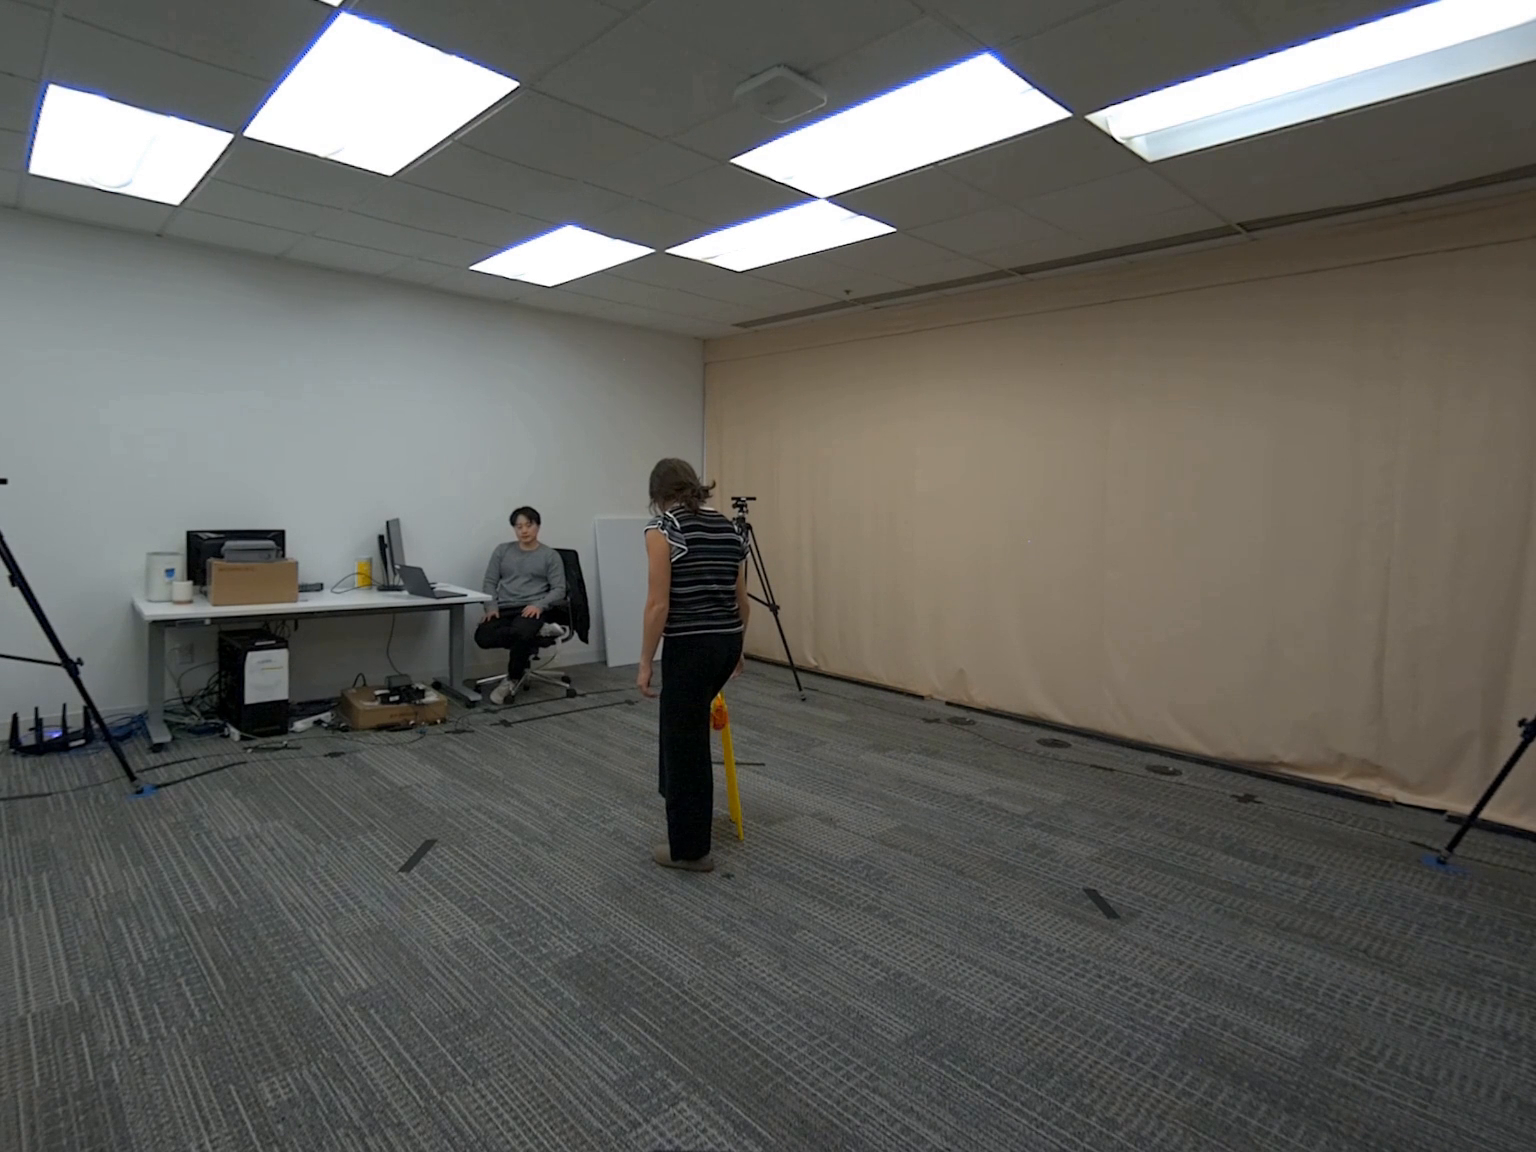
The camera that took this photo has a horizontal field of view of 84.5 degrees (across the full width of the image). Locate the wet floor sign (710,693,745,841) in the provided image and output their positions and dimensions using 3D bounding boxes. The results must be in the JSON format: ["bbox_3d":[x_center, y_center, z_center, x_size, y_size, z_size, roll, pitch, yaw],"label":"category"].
[{"bbox_3d":[-0.236,0.742,3.533,0.288,0.644,0.284,3,4,-7],"label":"wet floor sign"}]
